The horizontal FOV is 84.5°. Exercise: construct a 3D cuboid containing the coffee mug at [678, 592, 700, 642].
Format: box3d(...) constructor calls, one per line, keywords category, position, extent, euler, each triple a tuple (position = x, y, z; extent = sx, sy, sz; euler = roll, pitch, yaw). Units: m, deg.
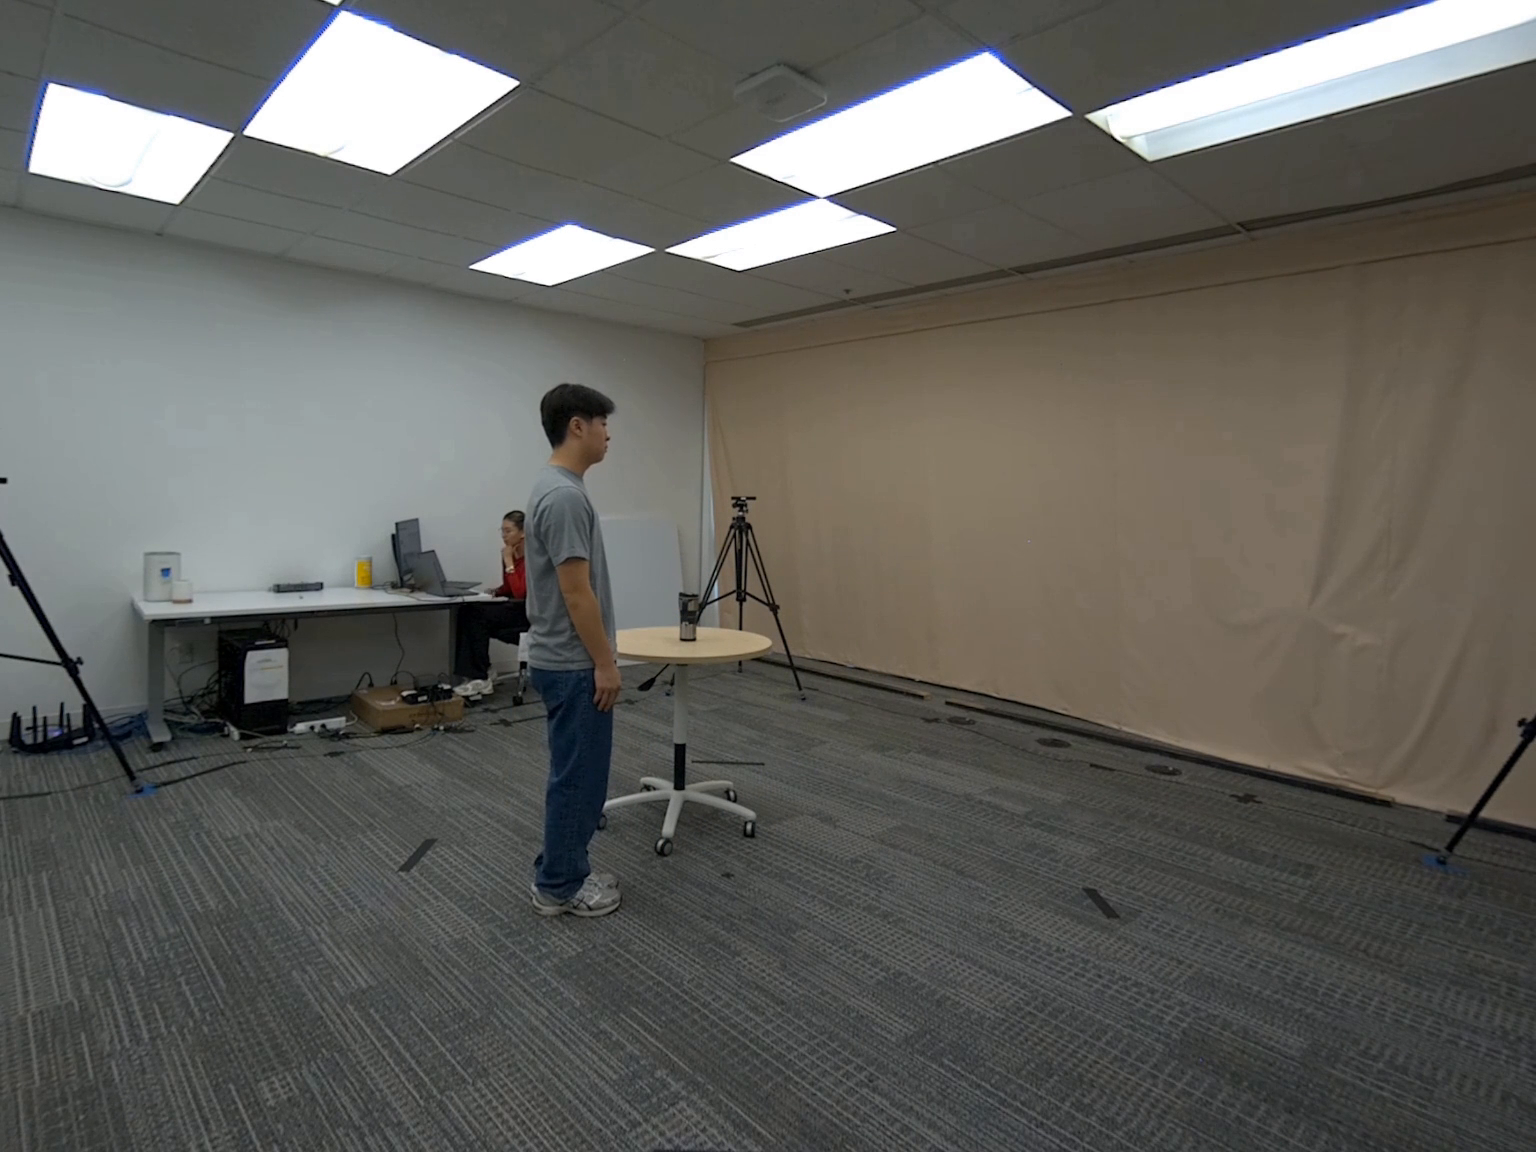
box3d(category="coffee mug", position=(-0.357, 0.174, 3.564), extent=(0.090, 0.202, 0.119), euler=(9, 4, 37))
